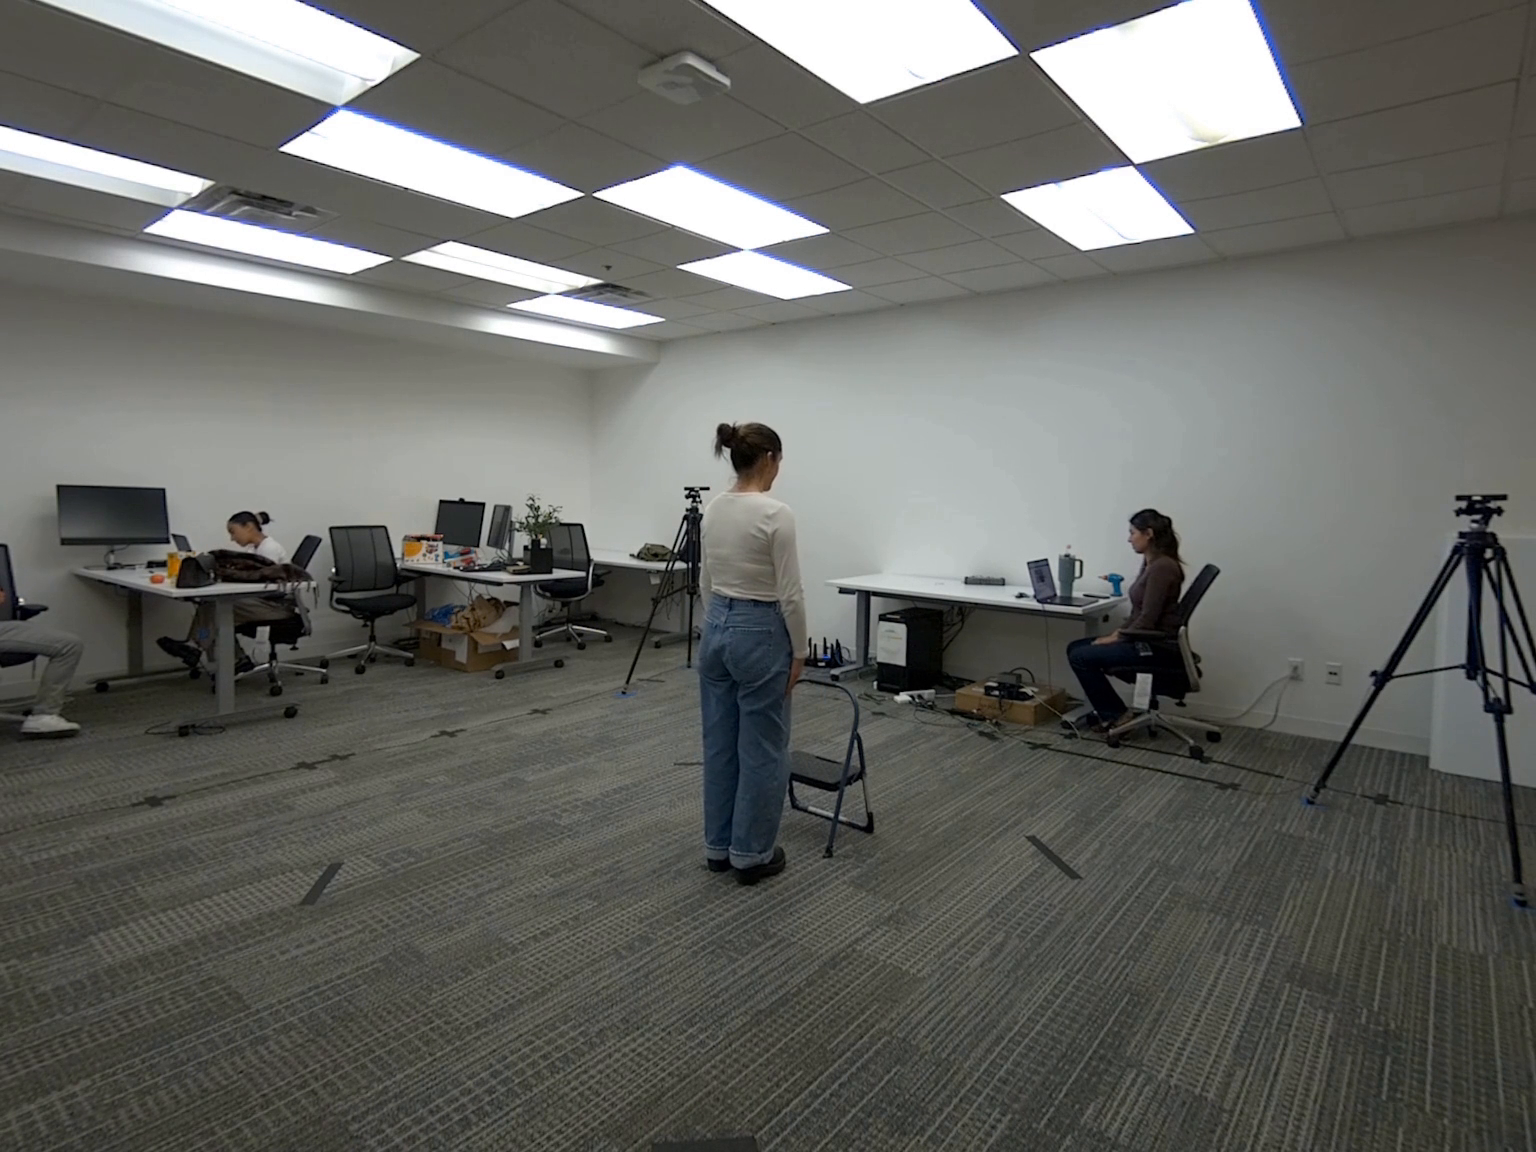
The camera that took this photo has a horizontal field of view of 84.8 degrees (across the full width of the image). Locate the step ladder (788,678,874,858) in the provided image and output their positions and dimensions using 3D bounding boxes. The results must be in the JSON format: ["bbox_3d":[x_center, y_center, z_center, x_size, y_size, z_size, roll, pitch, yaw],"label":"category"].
[{"bbox_3d":[0.168,0.734,3.463,0.445,0.604,0.339,5,5,39],"label":"step ladder"}]
